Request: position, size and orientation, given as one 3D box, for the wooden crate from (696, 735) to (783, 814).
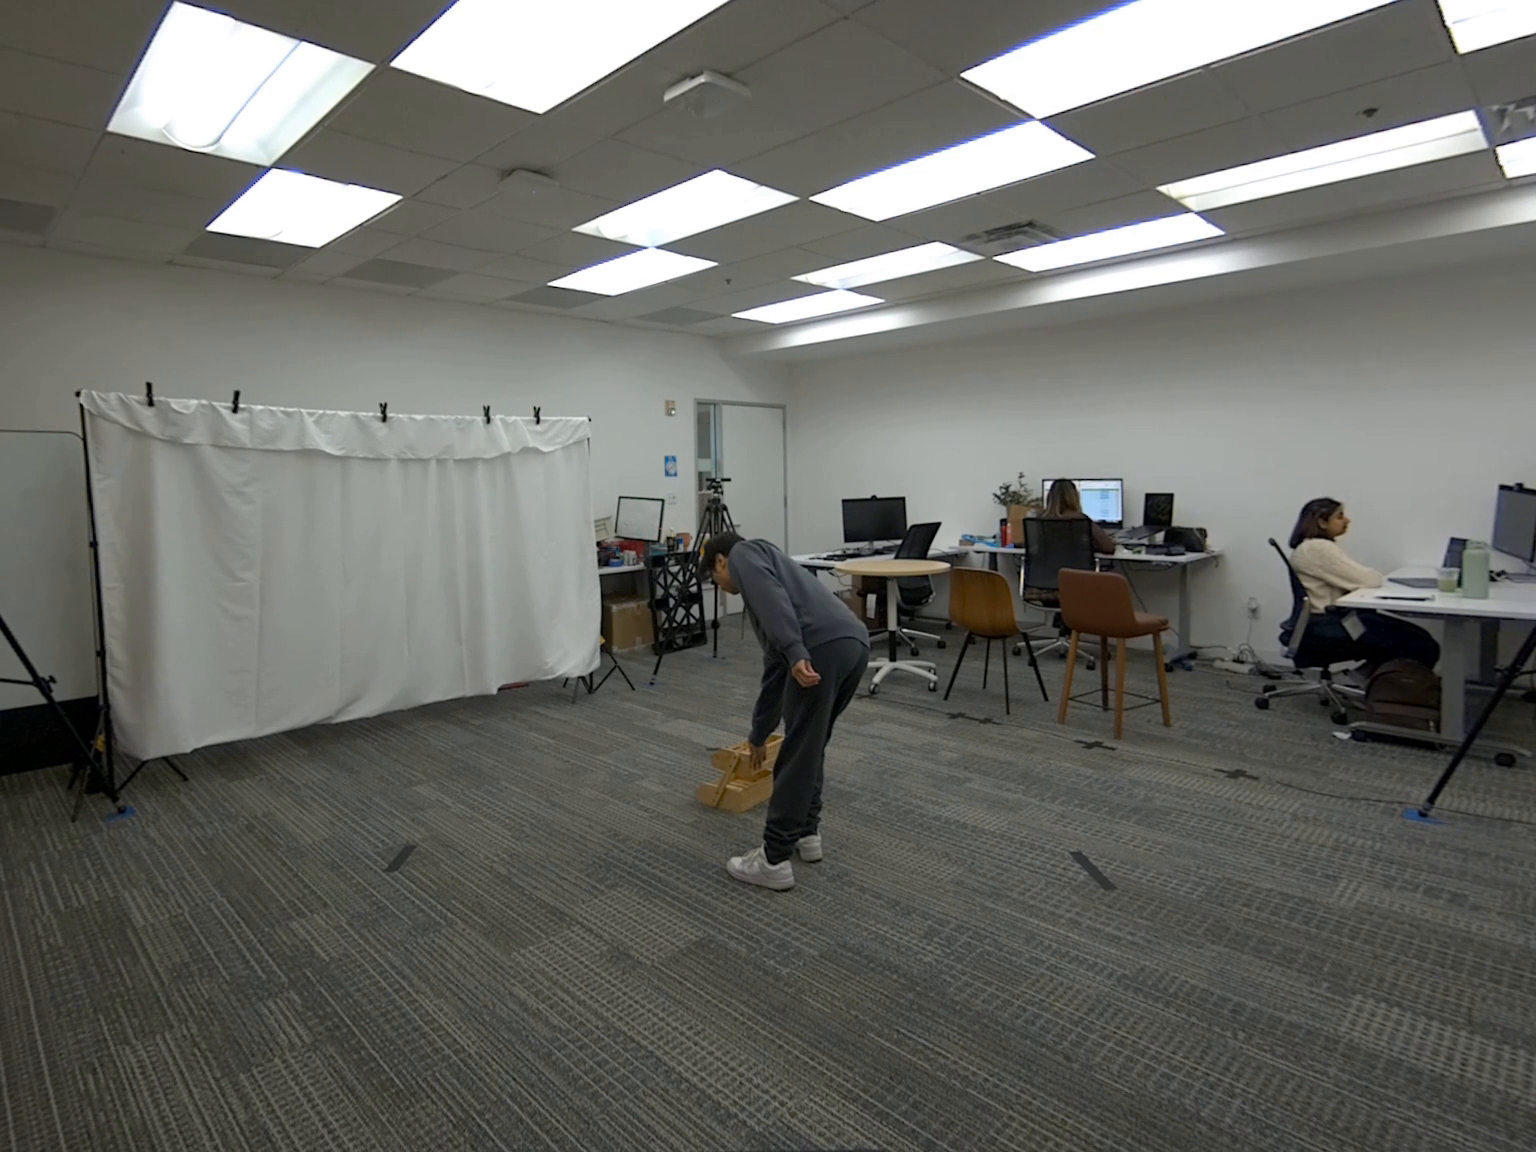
[{"bbox_3d":[-0.117,0.841,3.744,0.311,0.272,0.316,3,6,35],"label":"wooden crate"}]
